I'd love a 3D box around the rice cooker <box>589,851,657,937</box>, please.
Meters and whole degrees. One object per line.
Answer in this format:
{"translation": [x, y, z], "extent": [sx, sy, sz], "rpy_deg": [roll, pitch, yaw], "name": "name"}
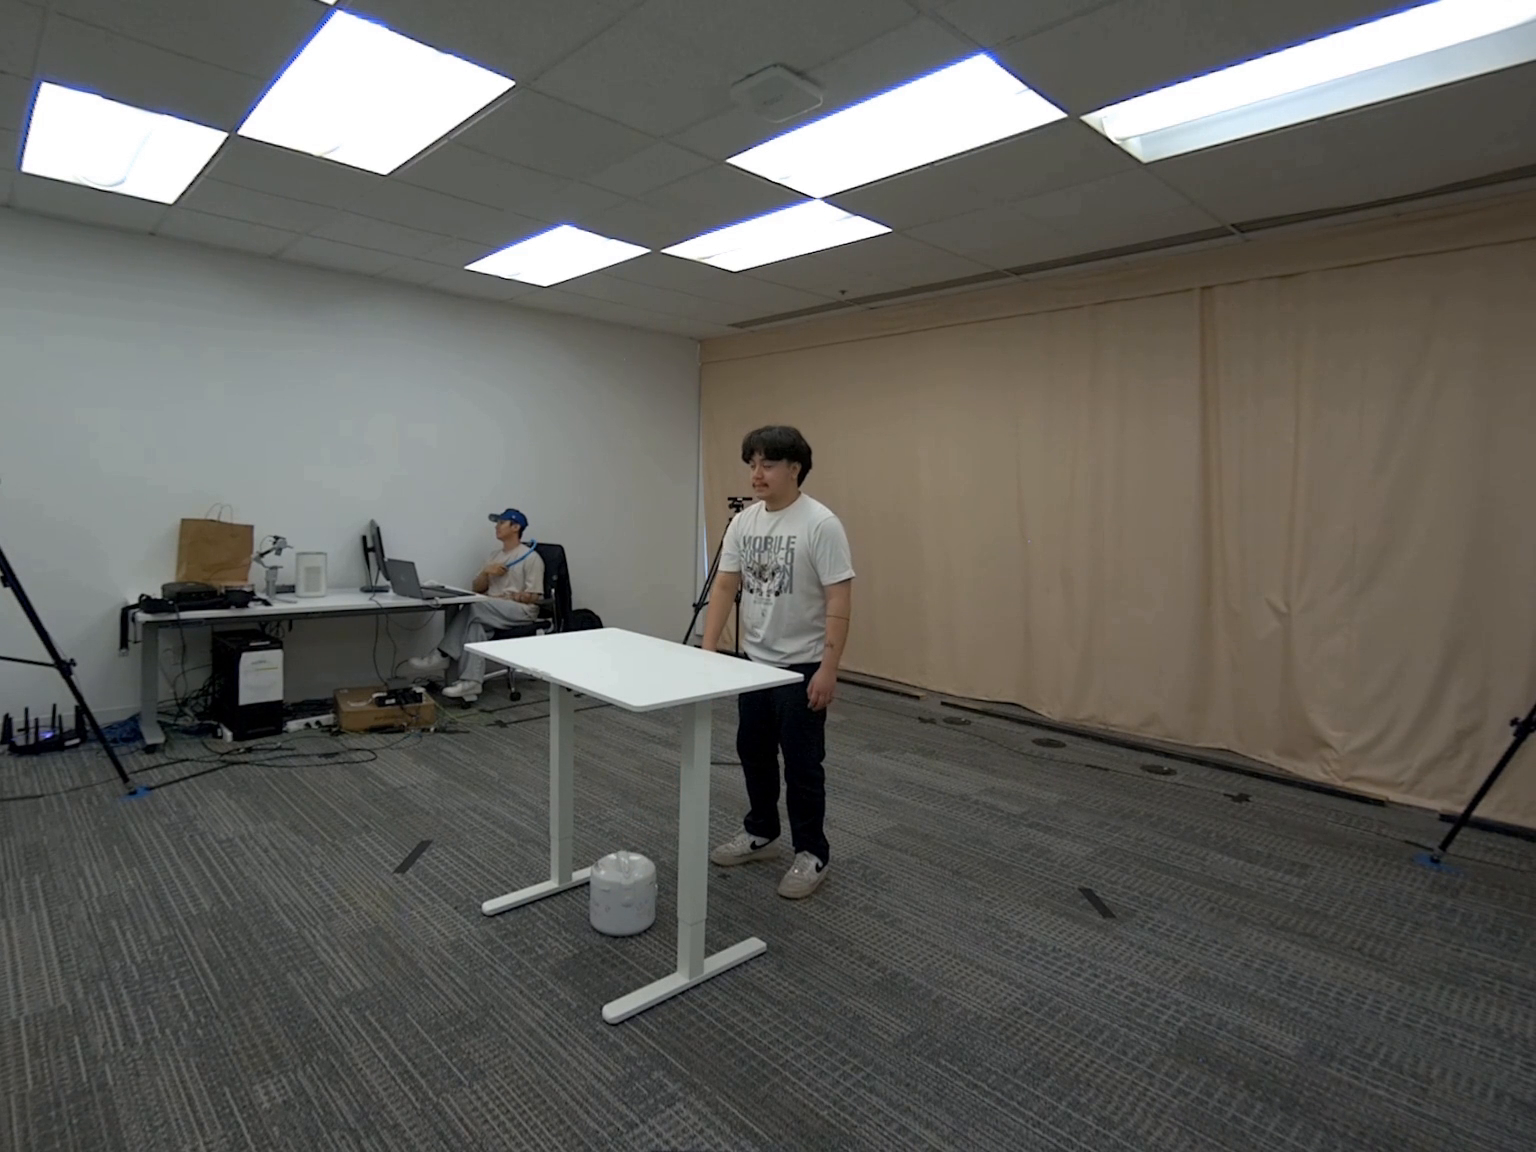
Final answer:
{"translation": [-0.471, 1.020, 2.729], "extent": [0.215, 0.232, 0.224], "rpy_deg": [0, 4, -15], "name": "rice cooker"}
